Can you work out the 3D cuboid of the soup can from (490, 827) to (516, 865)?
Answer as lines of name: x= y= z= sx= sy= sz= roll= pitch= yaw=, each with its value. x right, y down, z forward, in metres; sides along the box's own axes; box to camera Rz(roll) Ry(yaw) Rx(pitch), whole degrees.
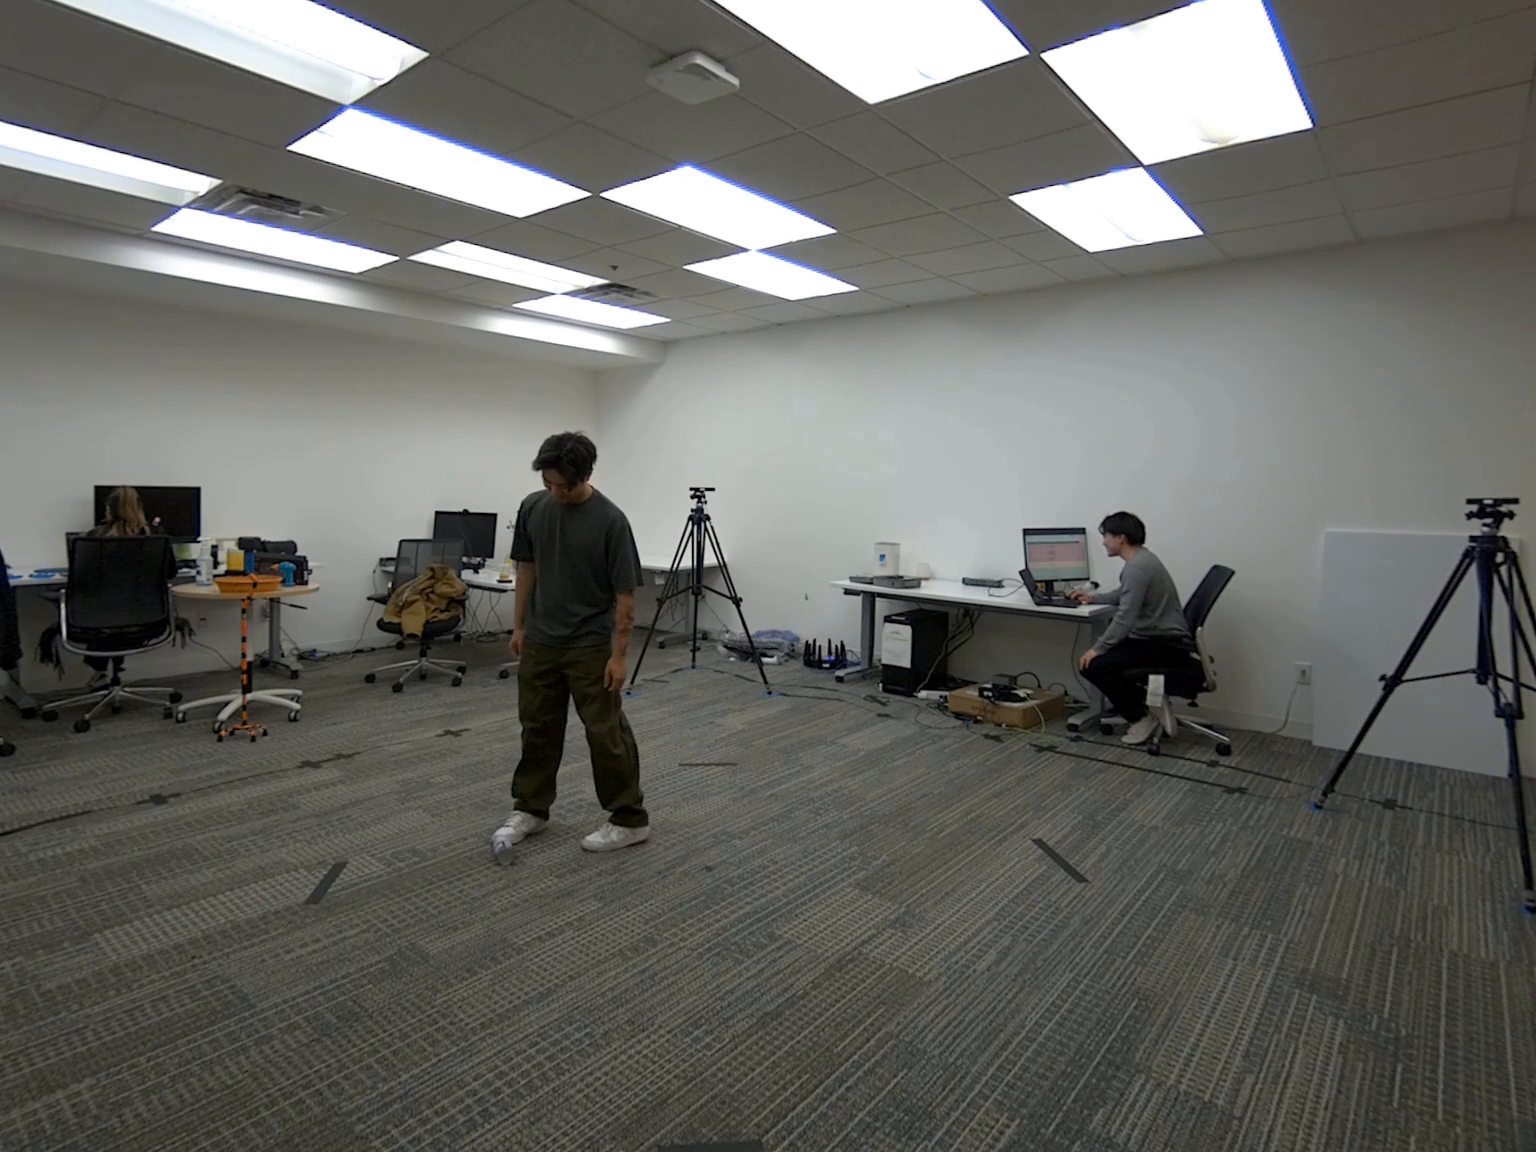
soup can: x=-1.002 y=1.005 z=3.160 sx=0.066 sy=0.067 sz=0.124 roll=0 pitch=8 yaw=-17
